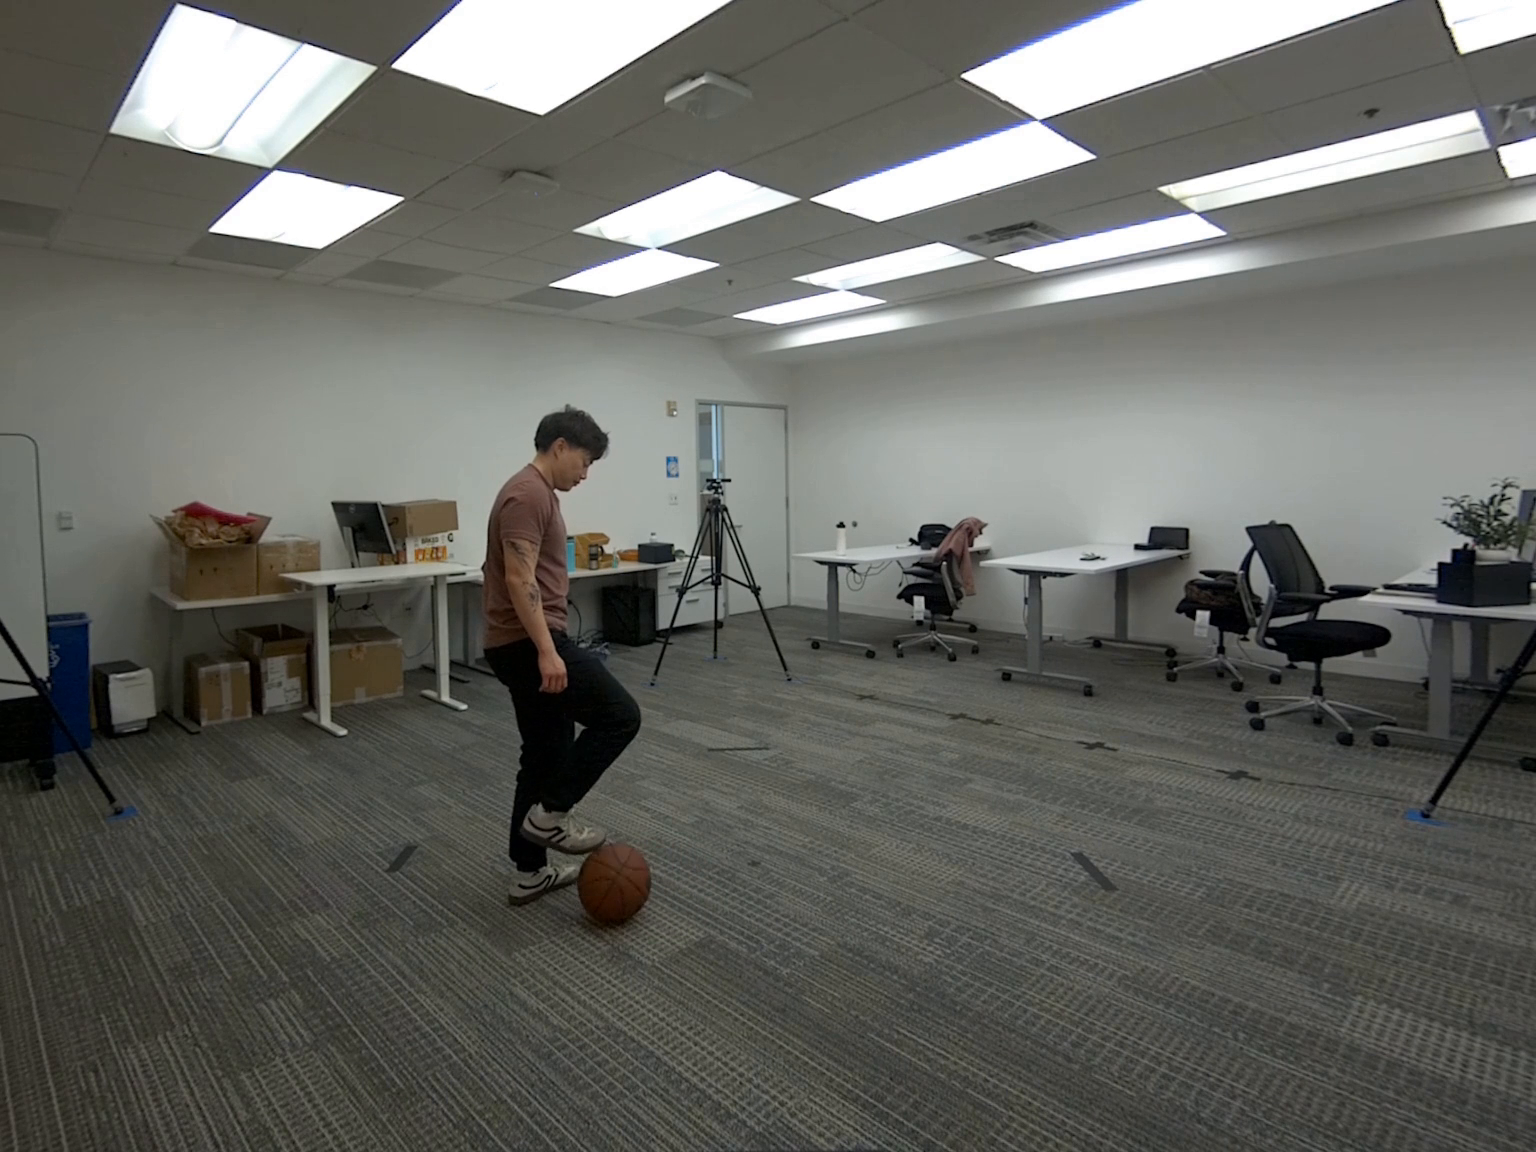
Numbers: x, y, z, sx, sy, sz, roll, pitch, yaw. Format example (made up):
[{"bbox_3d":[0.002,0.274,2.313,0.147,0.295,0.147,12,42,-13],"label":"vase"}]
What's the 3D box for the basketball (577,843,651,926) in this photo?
[{"bbox_3d":[-0.481,0.980,2.727,0.236,0.235,0.237,-1,5,-2],"label":"basketball"}]
